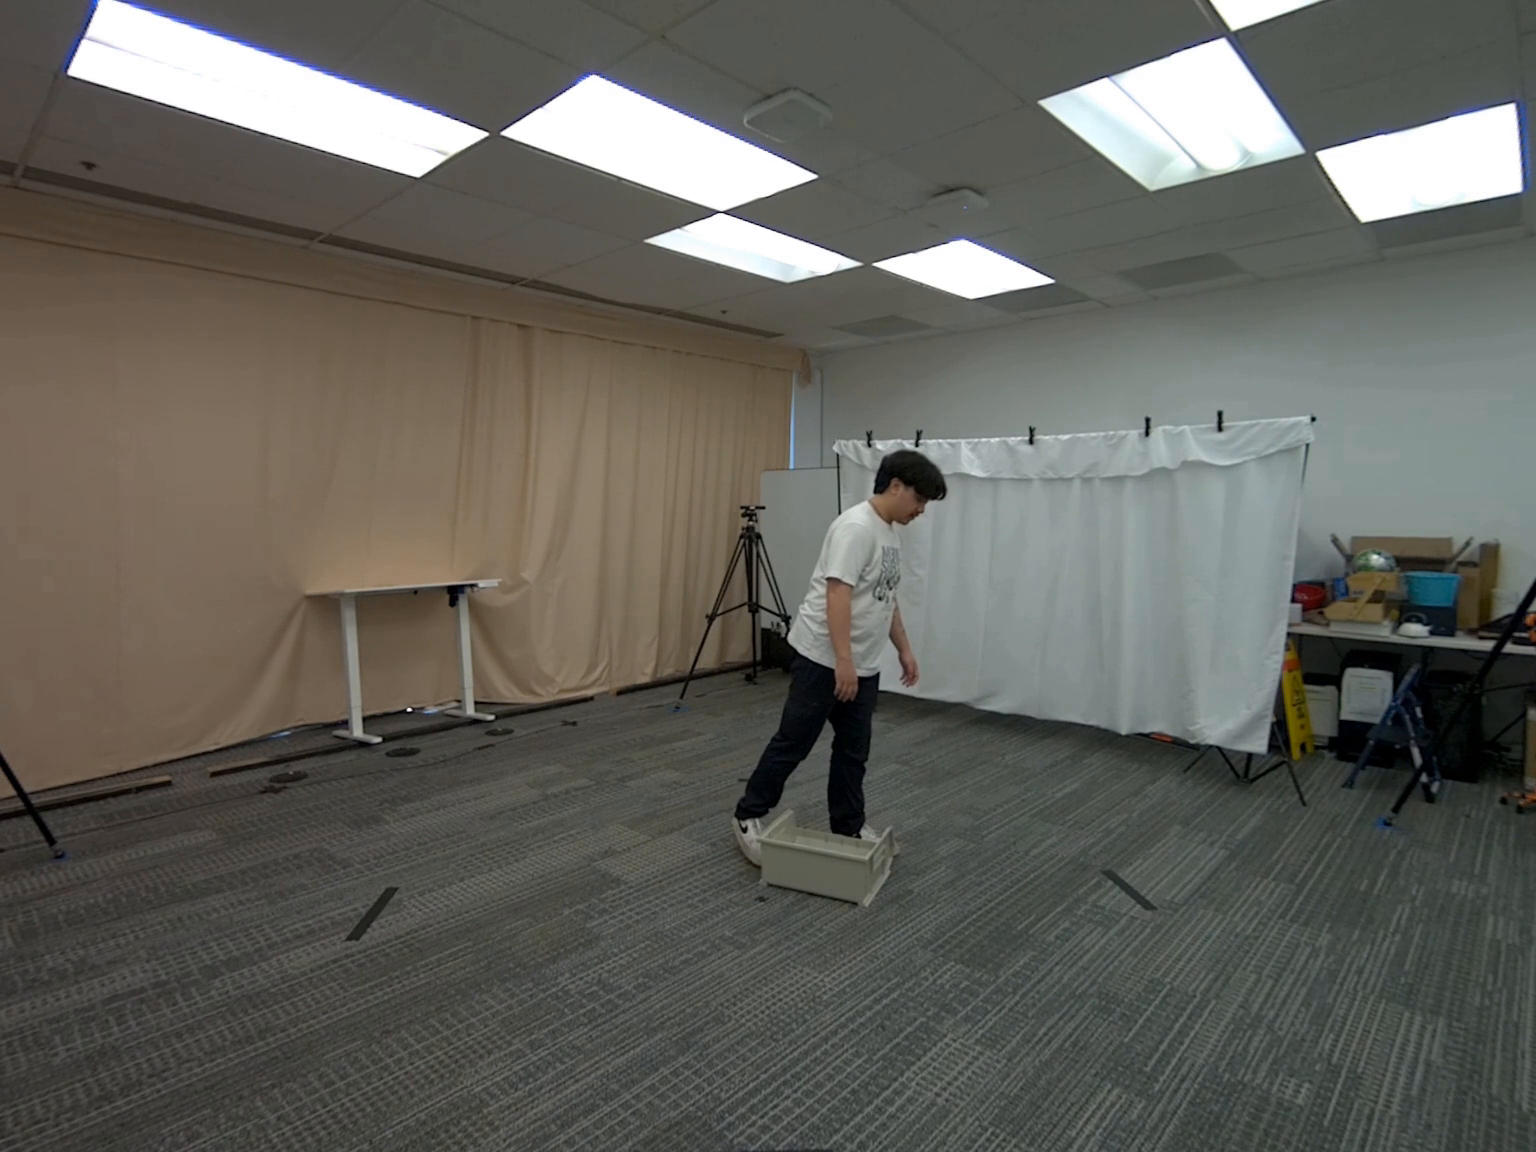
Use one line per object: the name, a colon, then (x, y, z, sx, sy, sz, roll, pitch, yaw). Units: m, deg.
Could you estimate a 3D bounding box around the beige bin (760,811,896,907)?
beige bin: (0.225, 1.038, 3.158, 0.433, 0.188, 0.369, 2, 6, 25)
